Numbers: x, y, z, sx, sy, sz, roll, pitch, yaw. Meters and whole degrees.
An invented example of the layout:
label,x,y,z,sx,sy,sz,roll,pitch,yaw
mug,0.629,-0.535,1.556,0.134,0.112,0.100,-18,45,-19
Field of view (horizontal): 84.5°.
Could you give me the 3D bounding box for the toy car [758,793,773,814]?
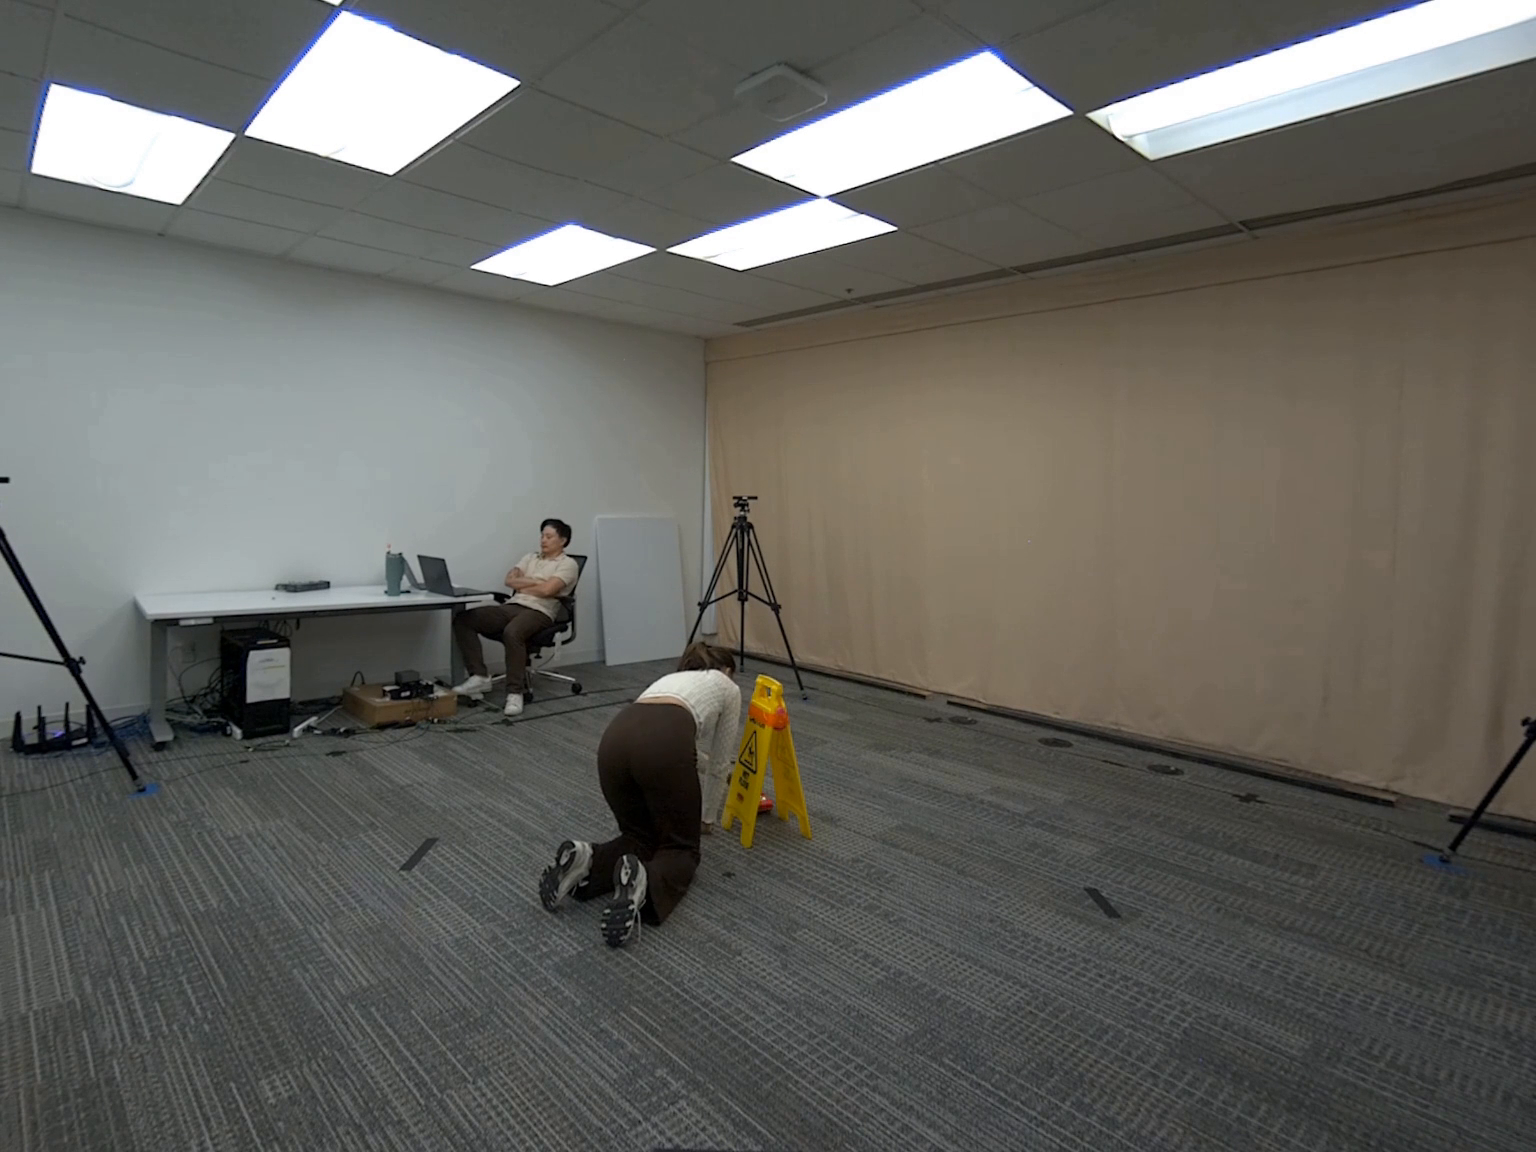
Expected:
label,x,y,z,sx,sy,sz,roll,pitch,yaw
toy car,-0.059,1.019,3.775,0.128,0.084,0.257,3,-8,-20
